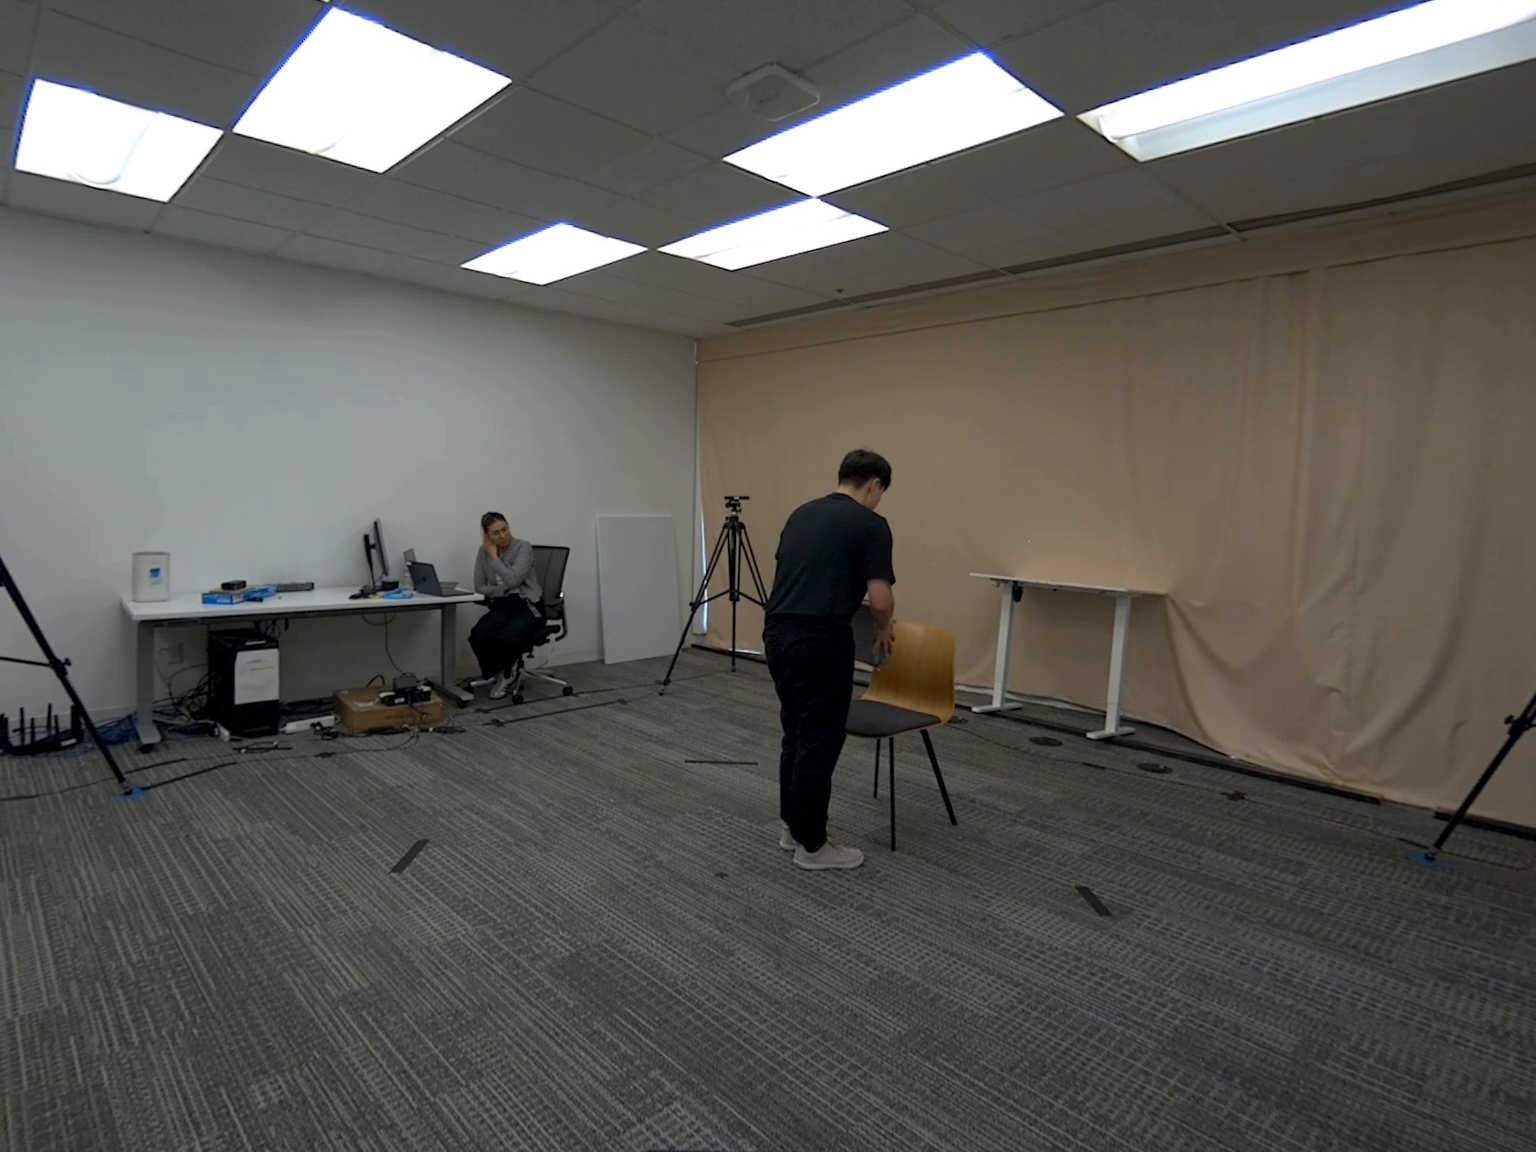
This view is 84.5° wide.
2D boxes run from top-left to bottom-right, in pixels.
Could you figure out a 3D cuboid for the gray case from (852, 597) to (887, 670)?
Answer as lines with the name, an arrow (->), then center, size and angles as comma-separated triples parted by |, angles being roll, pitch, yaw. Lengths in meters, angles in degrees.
gray case -> 0.372, 0.220, 3.448 | 0.103, 0.260, 0.261 | -1, 5, -21
